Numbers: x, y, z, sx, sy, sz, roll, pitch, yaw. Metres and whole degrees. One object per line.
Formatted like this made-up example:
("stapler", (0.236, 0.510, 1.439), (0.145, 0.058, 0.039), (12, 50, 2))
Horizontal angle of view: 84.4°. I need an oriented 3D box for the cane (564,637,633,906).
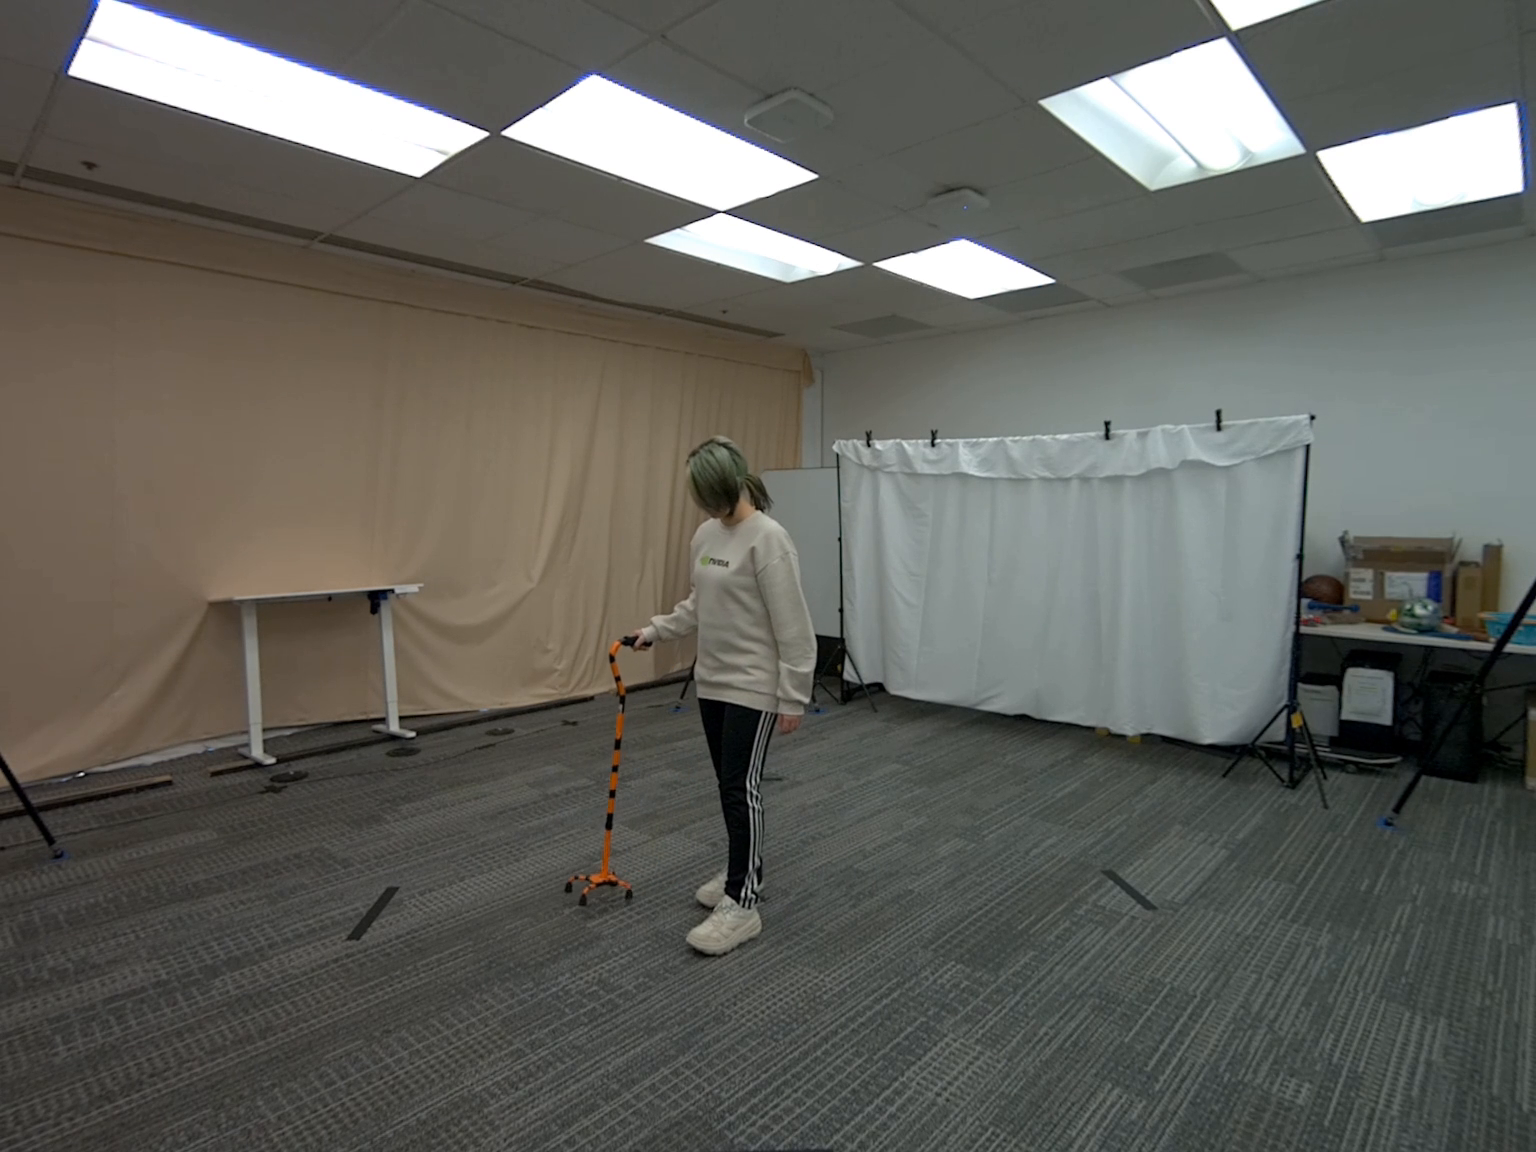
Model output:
("cane", (-0.553, 0.671, 2.969), (0.200, 0.909, 0.156), (5, -2, -37))
